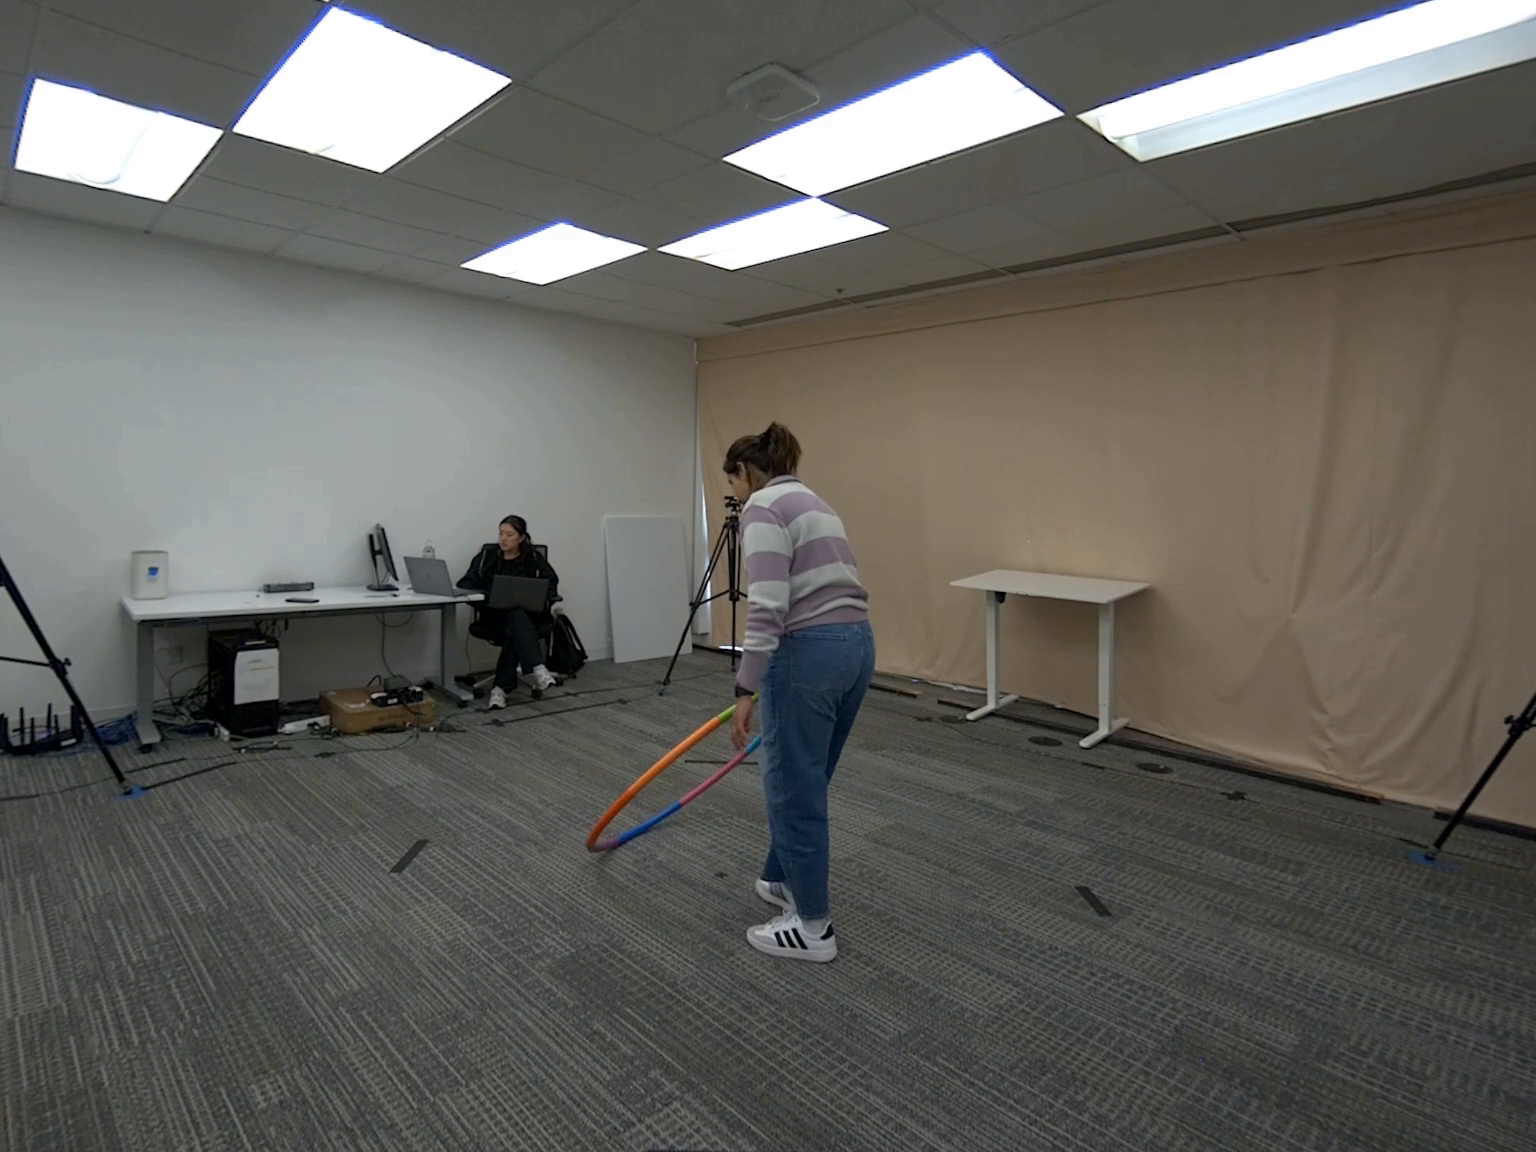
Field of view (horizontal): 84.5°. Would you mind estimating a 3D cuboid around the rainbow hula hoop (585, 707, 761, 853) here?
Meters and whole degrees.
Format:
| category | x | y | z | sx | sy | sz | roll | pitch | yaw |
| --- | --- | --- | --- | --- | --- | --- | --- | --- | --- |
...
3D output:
| category | x | y | z | sx | sy | sz | roll | pitch | yaw |
| --- | --- | --- | --- | --- | --- | --- | --- | --- | --- |
| rainbow hula hoop | -0.276 | 0.731 | 3.216 | 0.985 | 0.052 | 0.967 | -47 | -18 | 24 |
